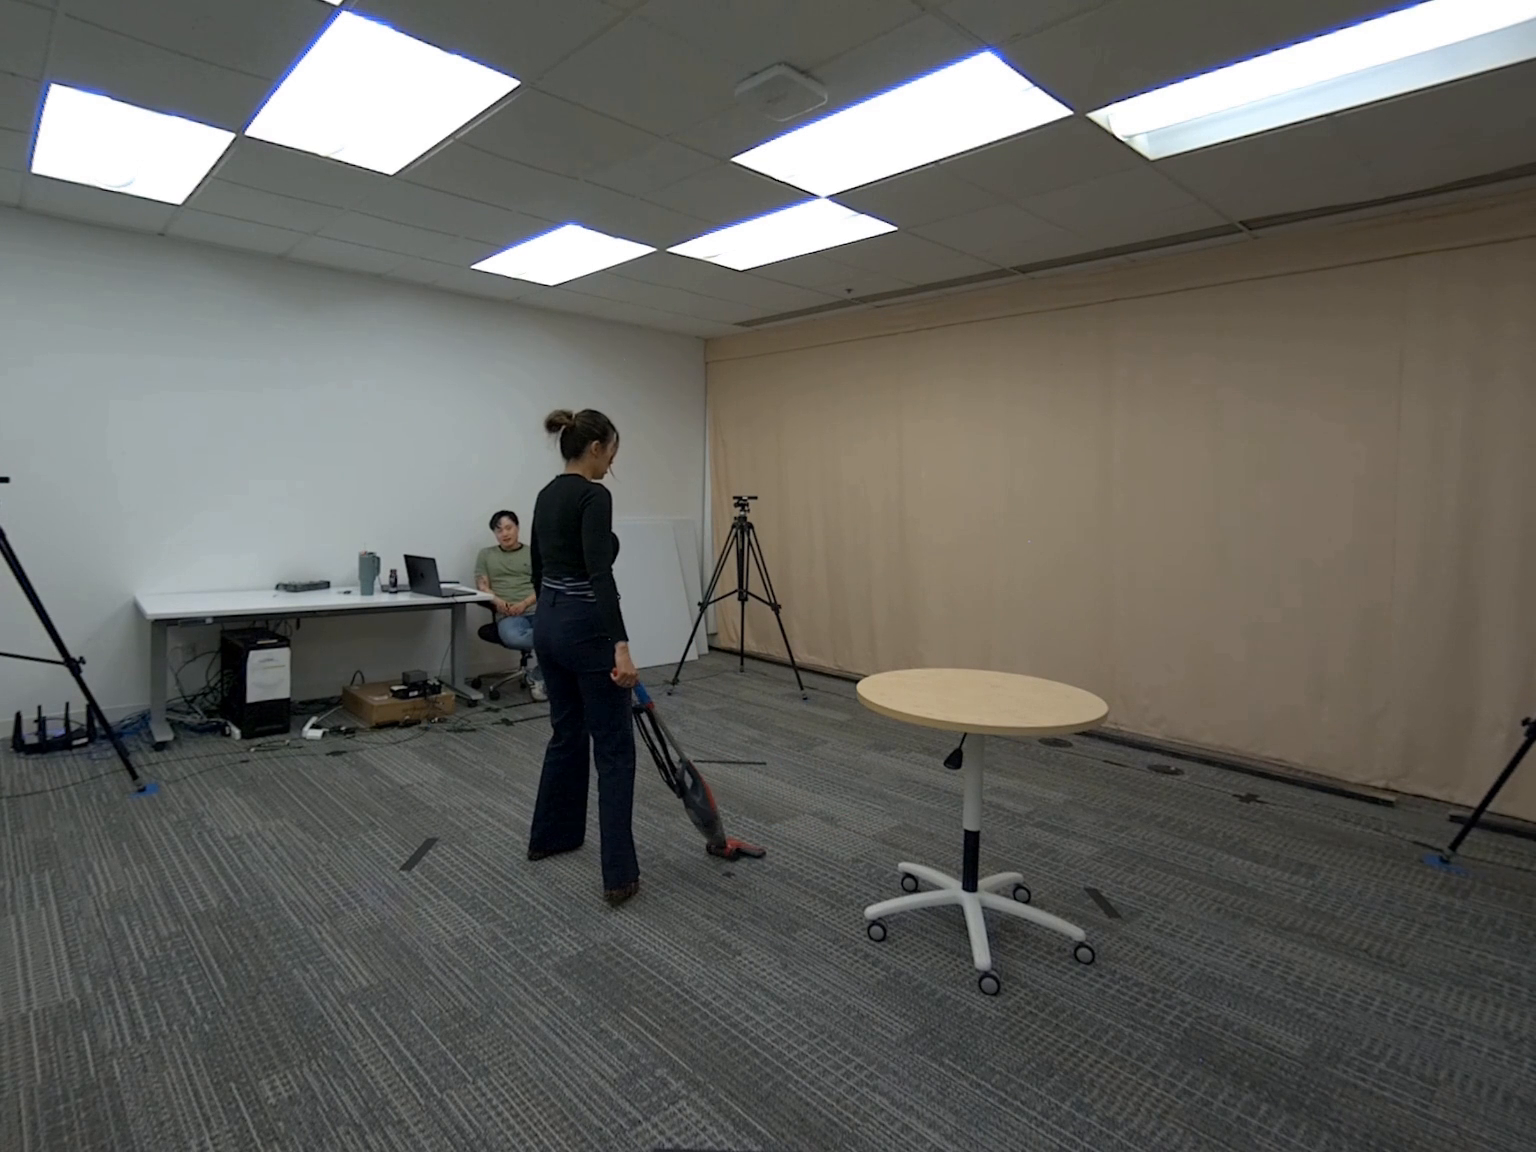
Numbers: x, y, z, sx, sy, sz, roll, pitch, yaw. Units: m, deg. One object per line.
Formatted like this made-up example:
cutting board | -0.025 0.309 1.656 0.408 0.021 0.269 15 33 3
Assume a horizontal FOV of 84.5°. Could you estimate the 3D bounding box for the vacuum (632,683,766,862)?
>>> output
vacuum | -0.314 0.697 3.019 0.259 1.020 0.144 8 46 36
